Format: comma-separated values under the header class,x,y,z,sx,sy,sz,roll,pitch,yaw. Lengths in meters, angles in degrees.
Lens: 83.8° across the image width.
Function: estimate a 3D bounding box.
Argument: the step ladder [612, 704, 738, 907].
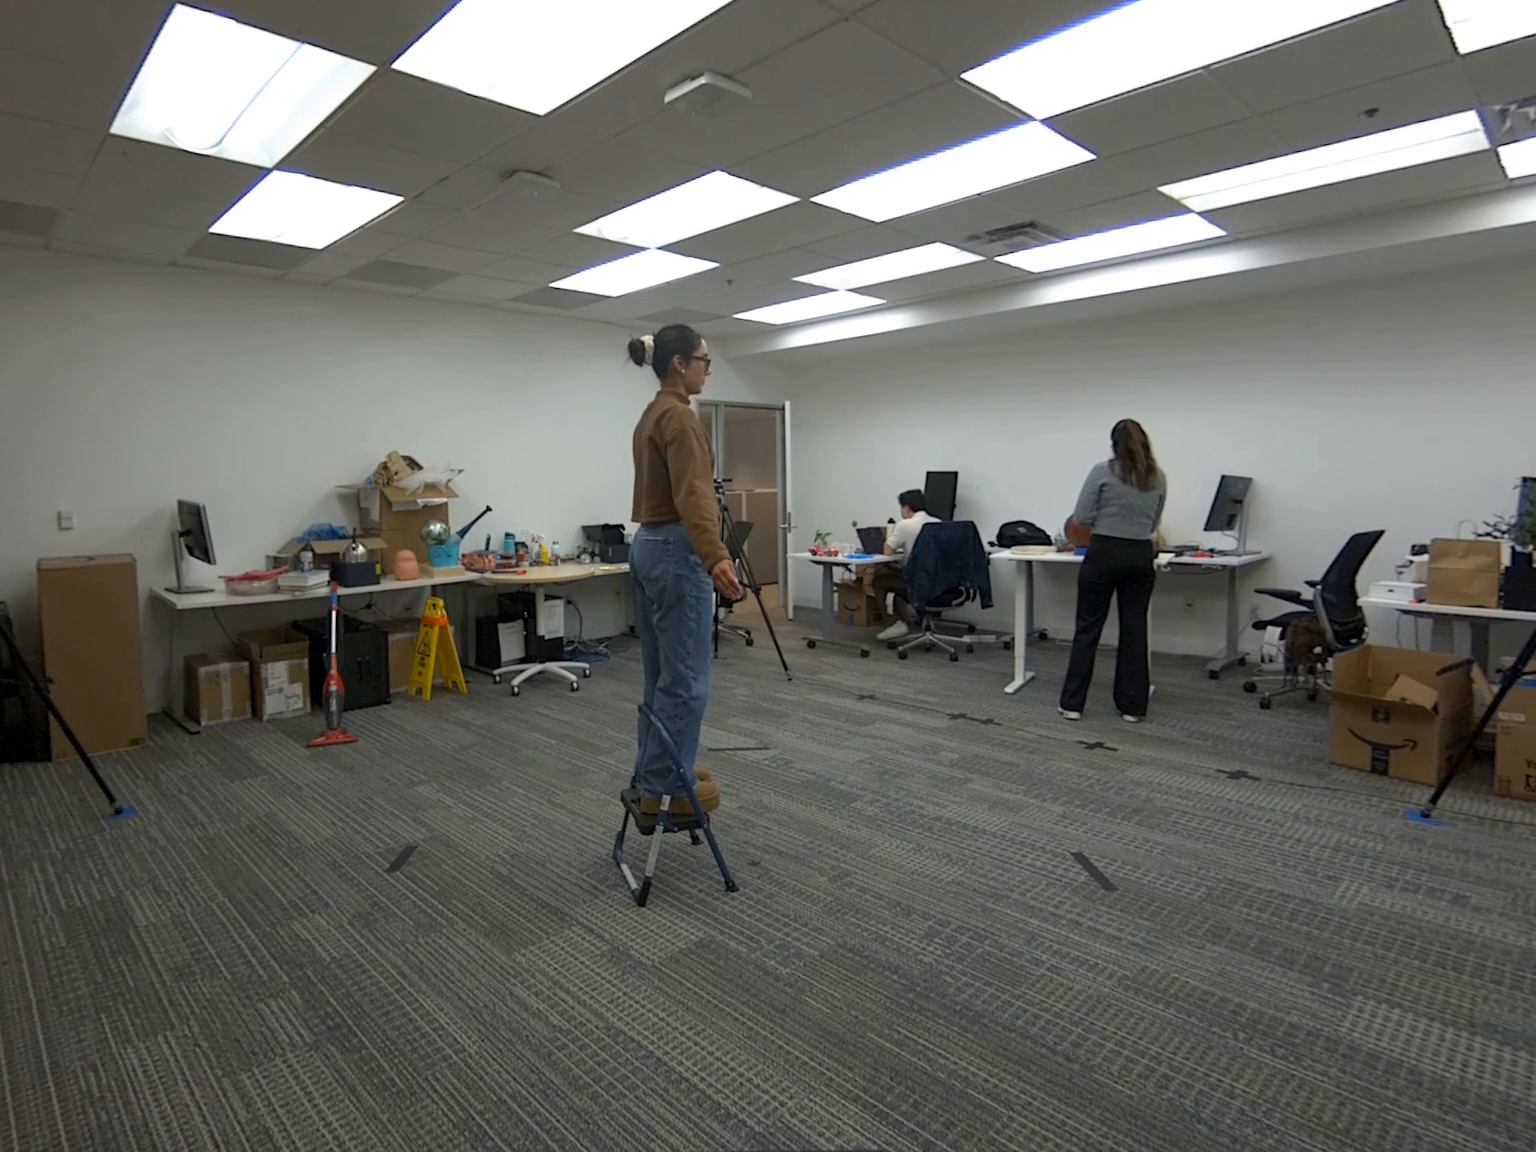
class,x,y,z,sx,sy,sz,roll,pitch,yaw
step ladder,-0.346,0.760,3.027,0.343,0.604,0.440,-3,5,-22
